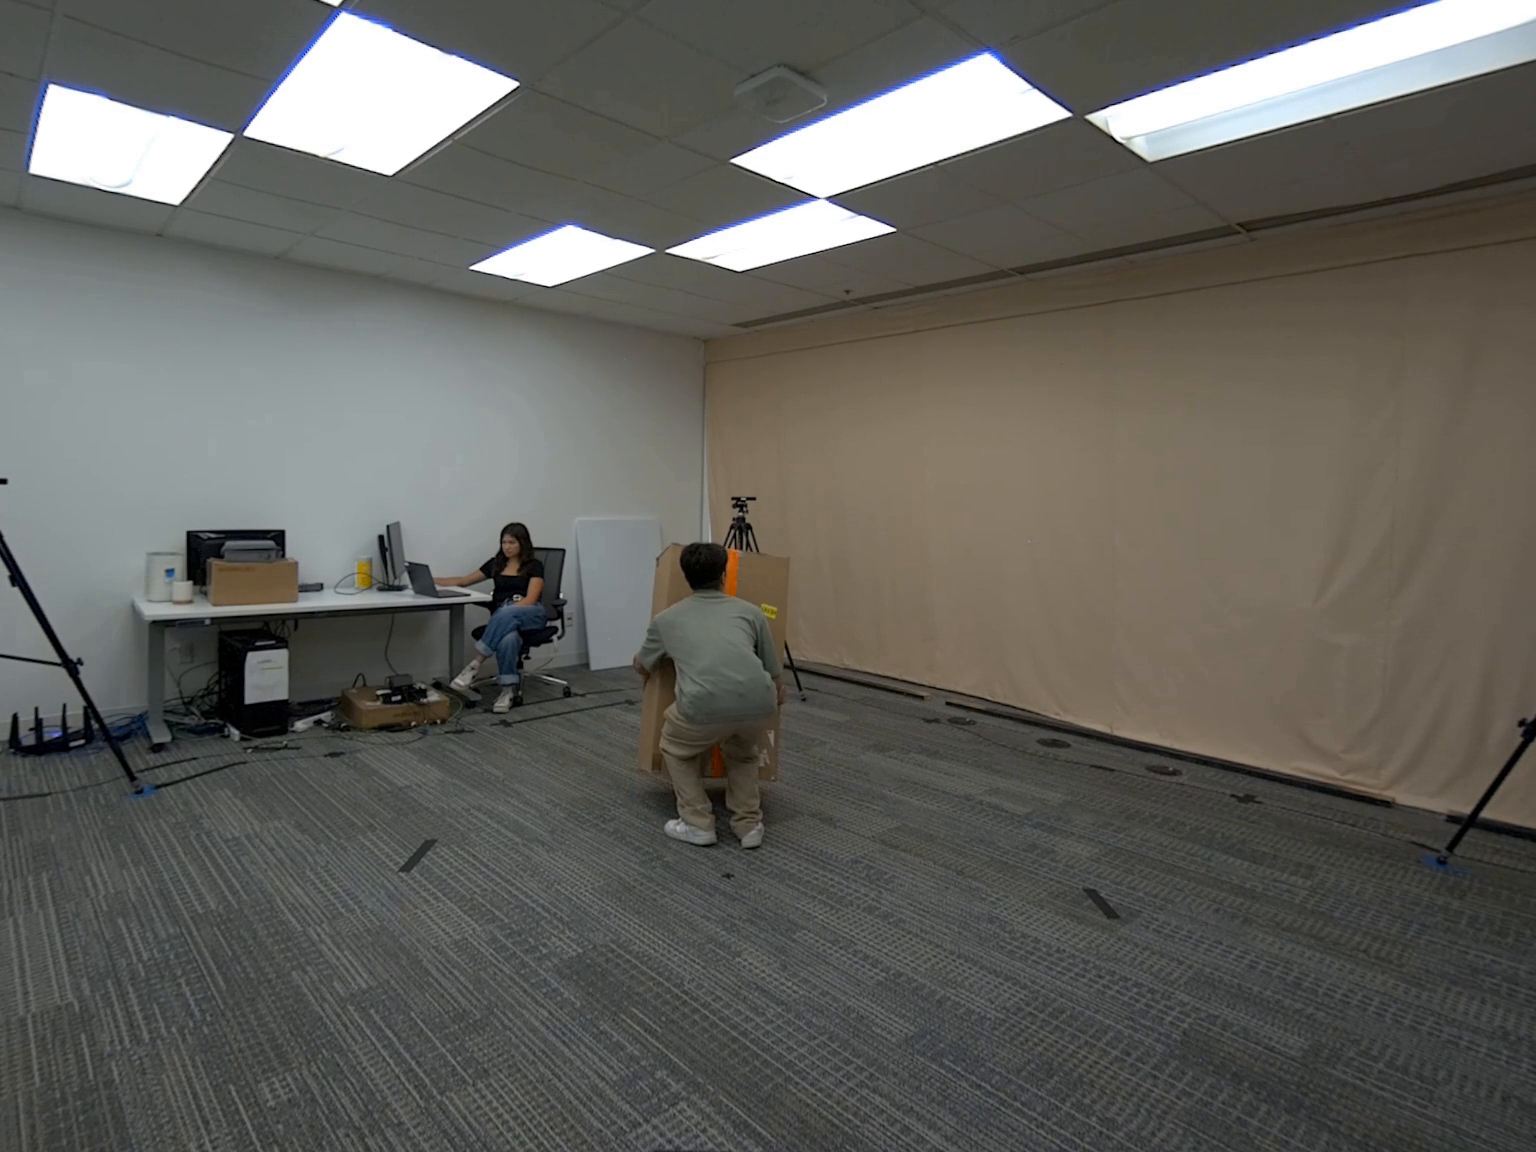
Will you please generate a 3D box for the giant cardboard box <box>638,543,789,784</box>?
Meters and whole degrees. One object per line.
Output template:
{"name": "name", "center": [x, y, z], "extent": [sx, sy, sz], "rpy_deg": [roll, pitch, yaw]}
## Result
{"name": "giant cardboard box", "center": [-0.265, 0.411, 3.975], "extent": [0.571, 1.034, 0.428], "rpy_deg": [7, -12, -14]}
